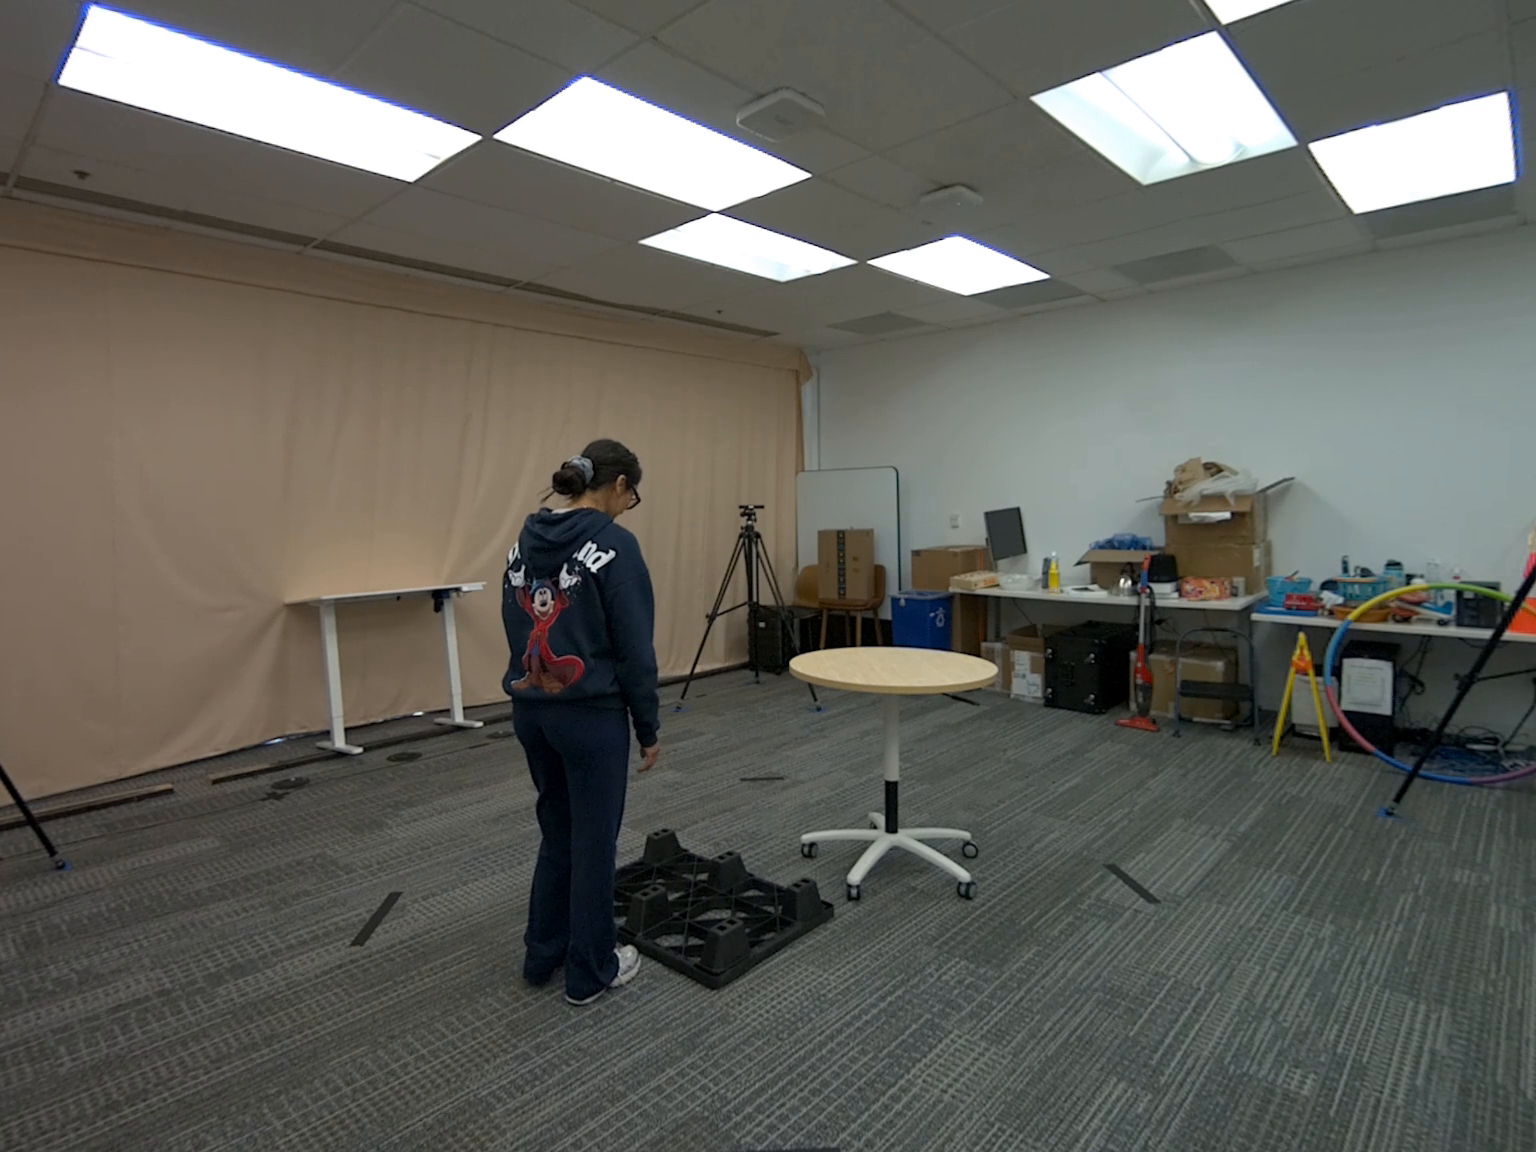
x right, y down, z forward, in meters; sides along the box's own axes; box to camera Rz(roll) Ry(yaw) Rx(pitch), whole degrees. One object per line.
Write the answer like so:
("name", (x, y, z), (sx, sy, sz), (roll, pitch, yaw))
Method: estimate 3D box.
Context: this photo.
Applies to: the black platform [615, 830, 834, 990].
("black platform", (-0.258, 1.089, 2.894), (0.832, 0.143, 0.587), (4, 7, 41))
